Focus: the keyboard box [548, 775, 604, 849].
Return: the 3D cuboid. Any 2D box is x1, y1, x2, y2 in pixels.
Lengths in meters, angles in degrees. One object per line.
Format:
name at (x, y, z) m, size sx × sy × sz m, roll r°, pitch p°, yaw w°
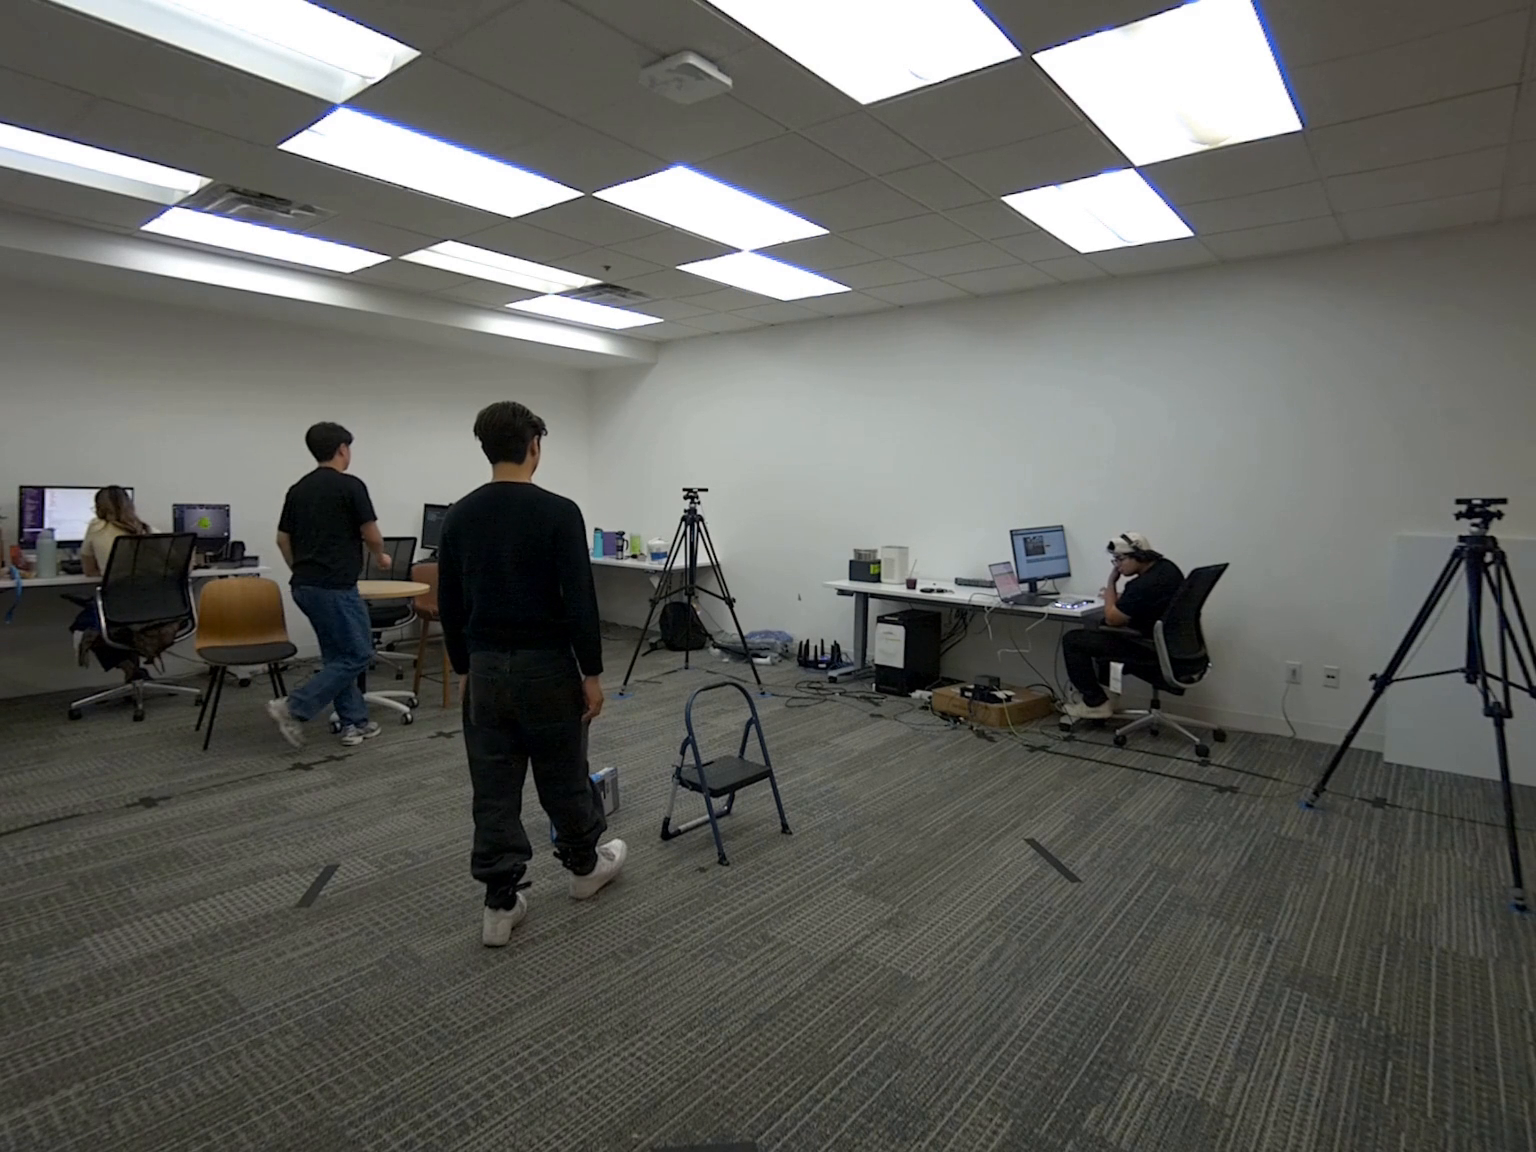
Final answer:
keyboard box at (-0.764, 0.933, 3.509) m, size 0.060 × 0.176 × 0.428 m, roll -5°, pitch 2°, yaw 22°
